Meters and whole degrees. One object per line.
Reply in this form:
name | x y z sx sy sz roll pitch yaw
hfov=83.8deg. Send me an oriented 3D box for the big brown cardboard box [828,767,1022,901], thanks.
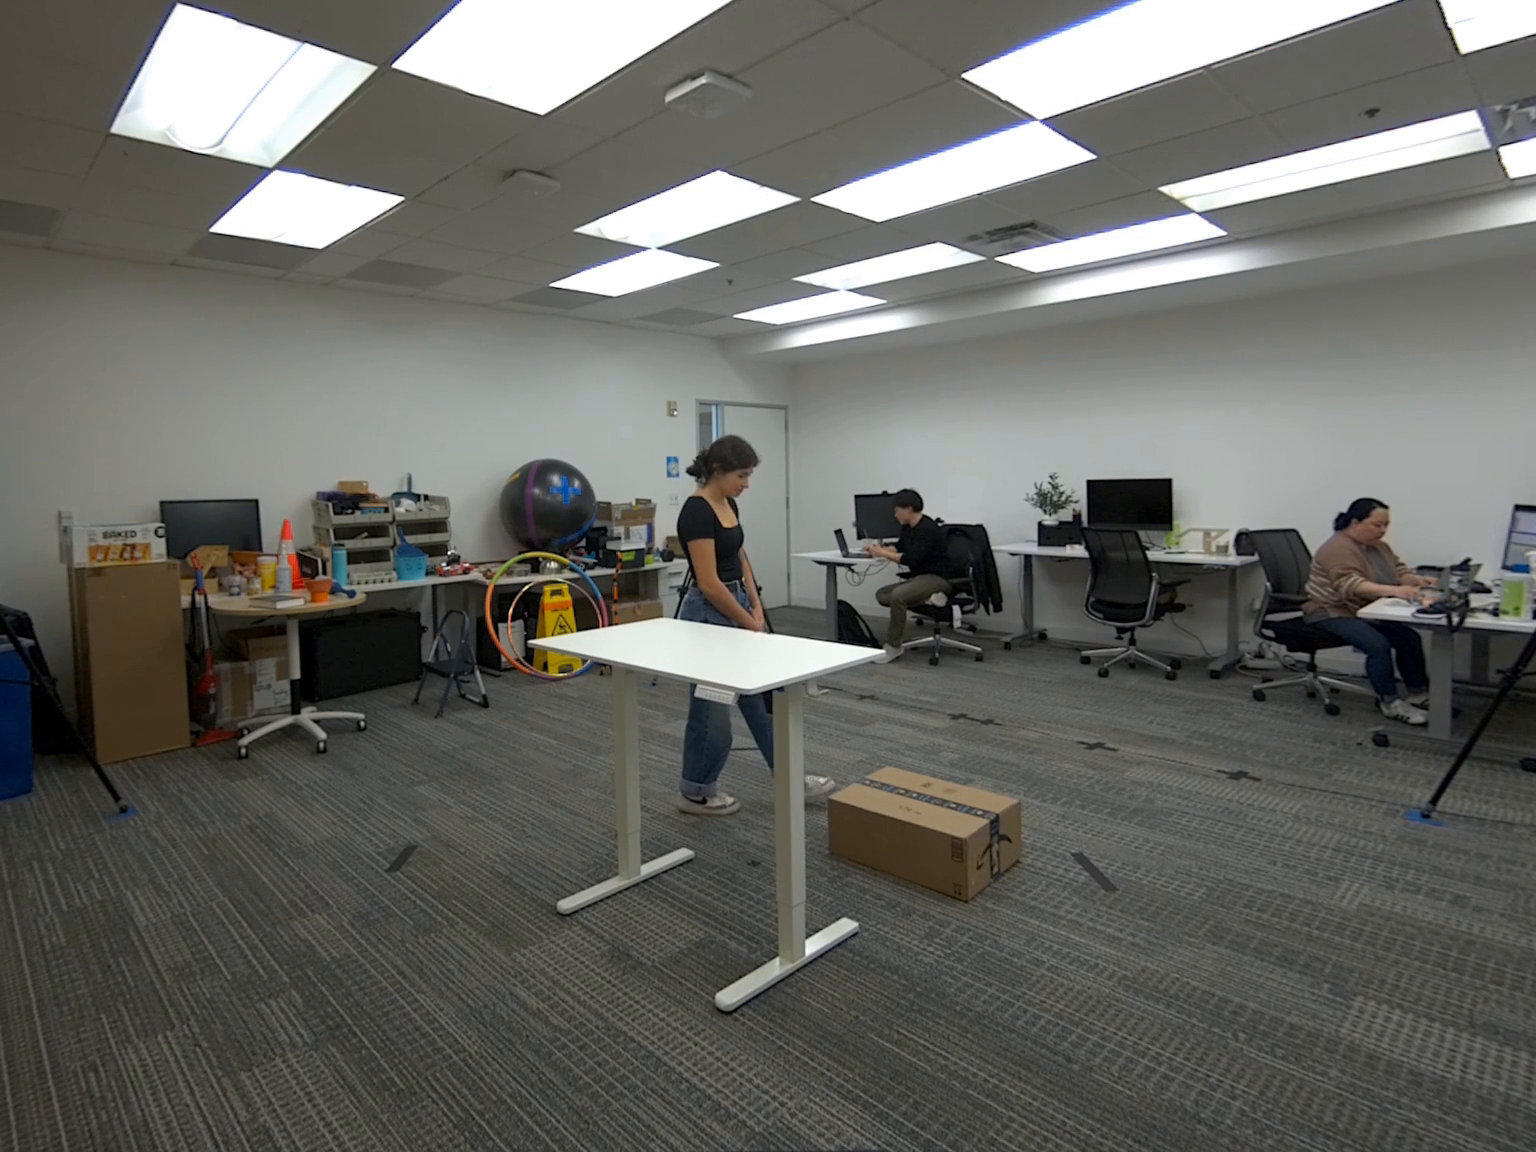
big brown cardboard box | 0.574 0.921 3.125 0.607 0.232 0.407 5 10 42
